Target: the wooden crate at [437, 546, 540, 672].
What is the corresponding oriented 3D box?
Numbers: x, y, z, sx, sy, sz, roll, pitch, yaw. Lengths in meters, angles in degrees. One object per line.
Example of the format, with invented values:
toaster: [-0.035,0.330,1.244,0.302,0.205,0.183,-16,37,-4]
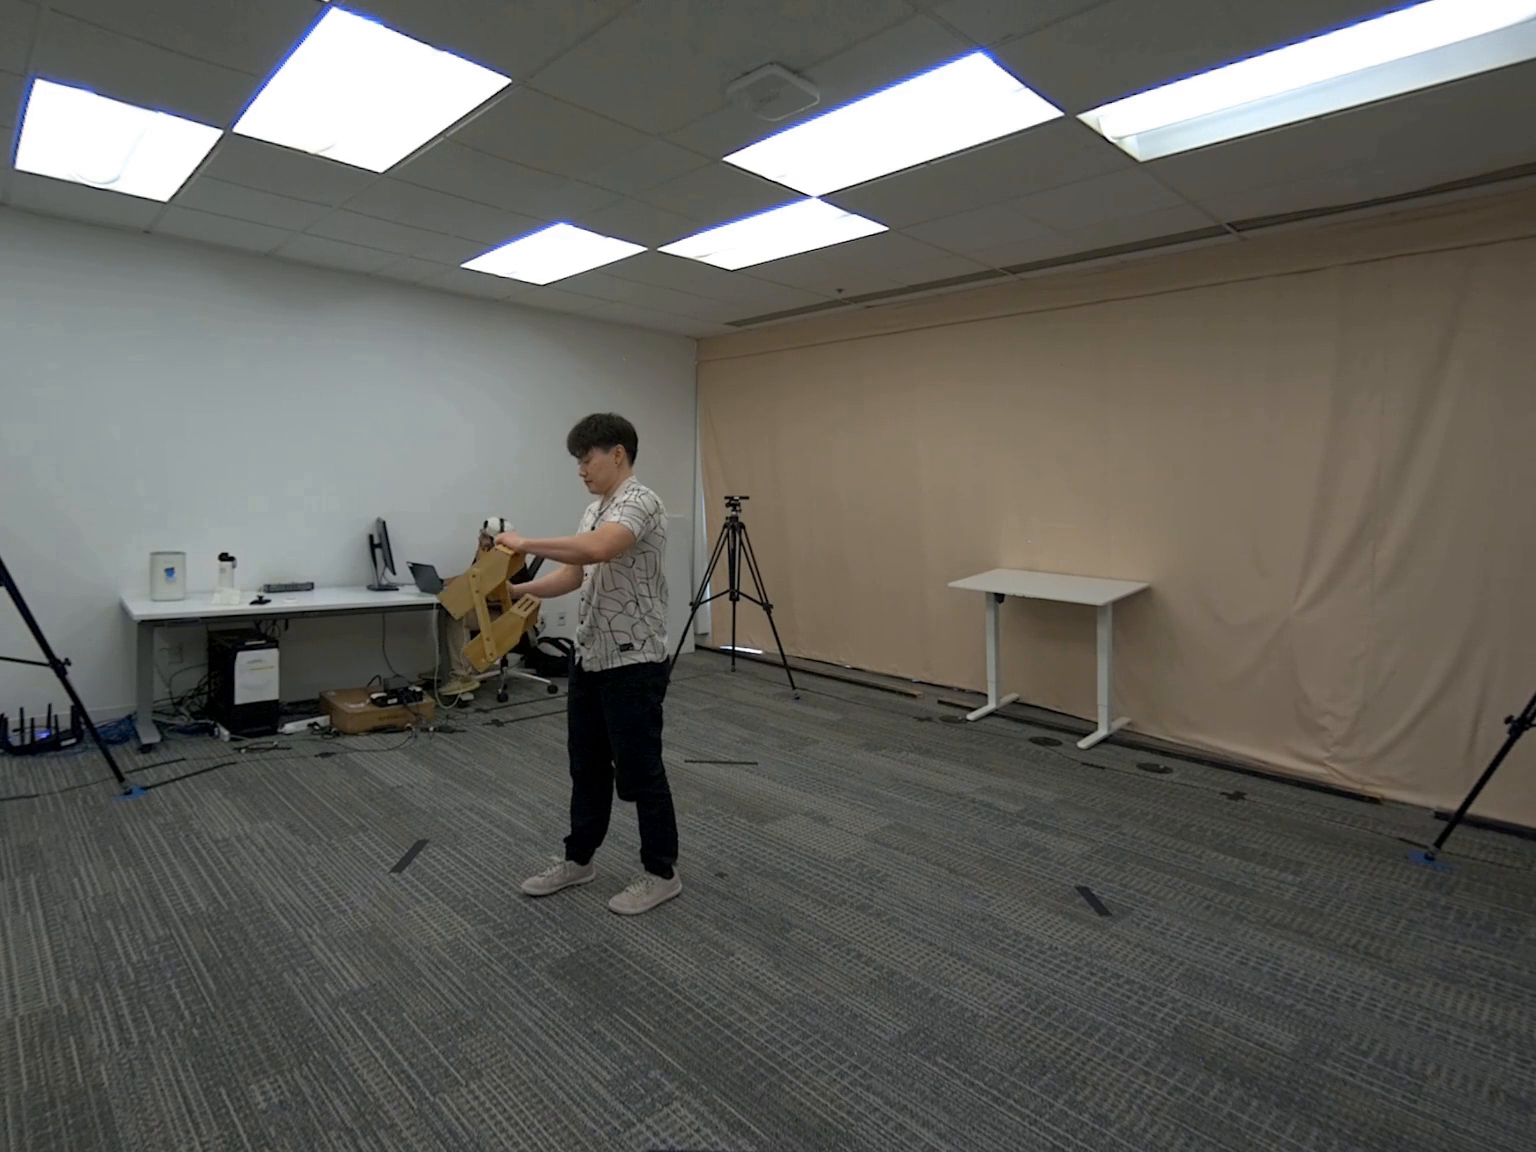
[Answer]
wooden crate: [-0.836,0.080,2.631,0.302,0.271,0.326,-39,7,3]
